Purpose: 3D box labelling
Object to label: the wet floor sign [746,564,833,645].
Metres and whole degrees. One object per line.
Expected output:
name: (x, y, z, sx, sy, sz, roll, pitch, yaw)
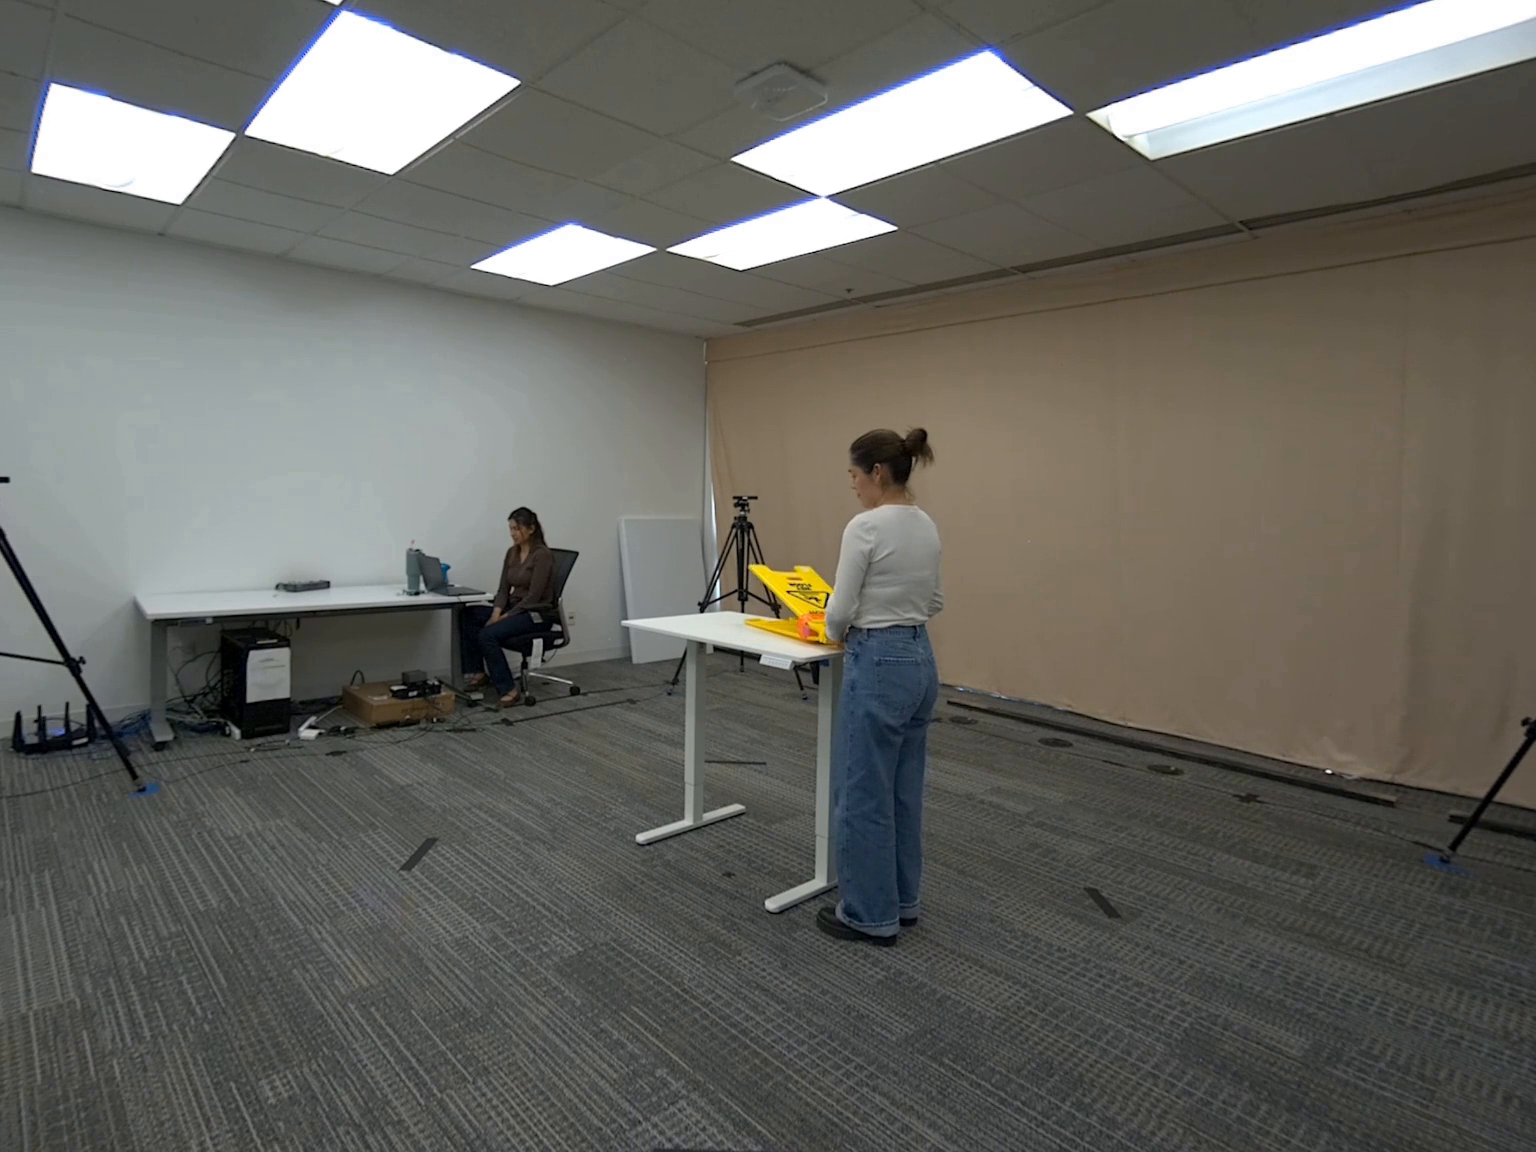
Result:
wet floor sign: (0.142, 0.156, 3.156, 0.278, 0.288, 0.661, 2, 11, -22)
